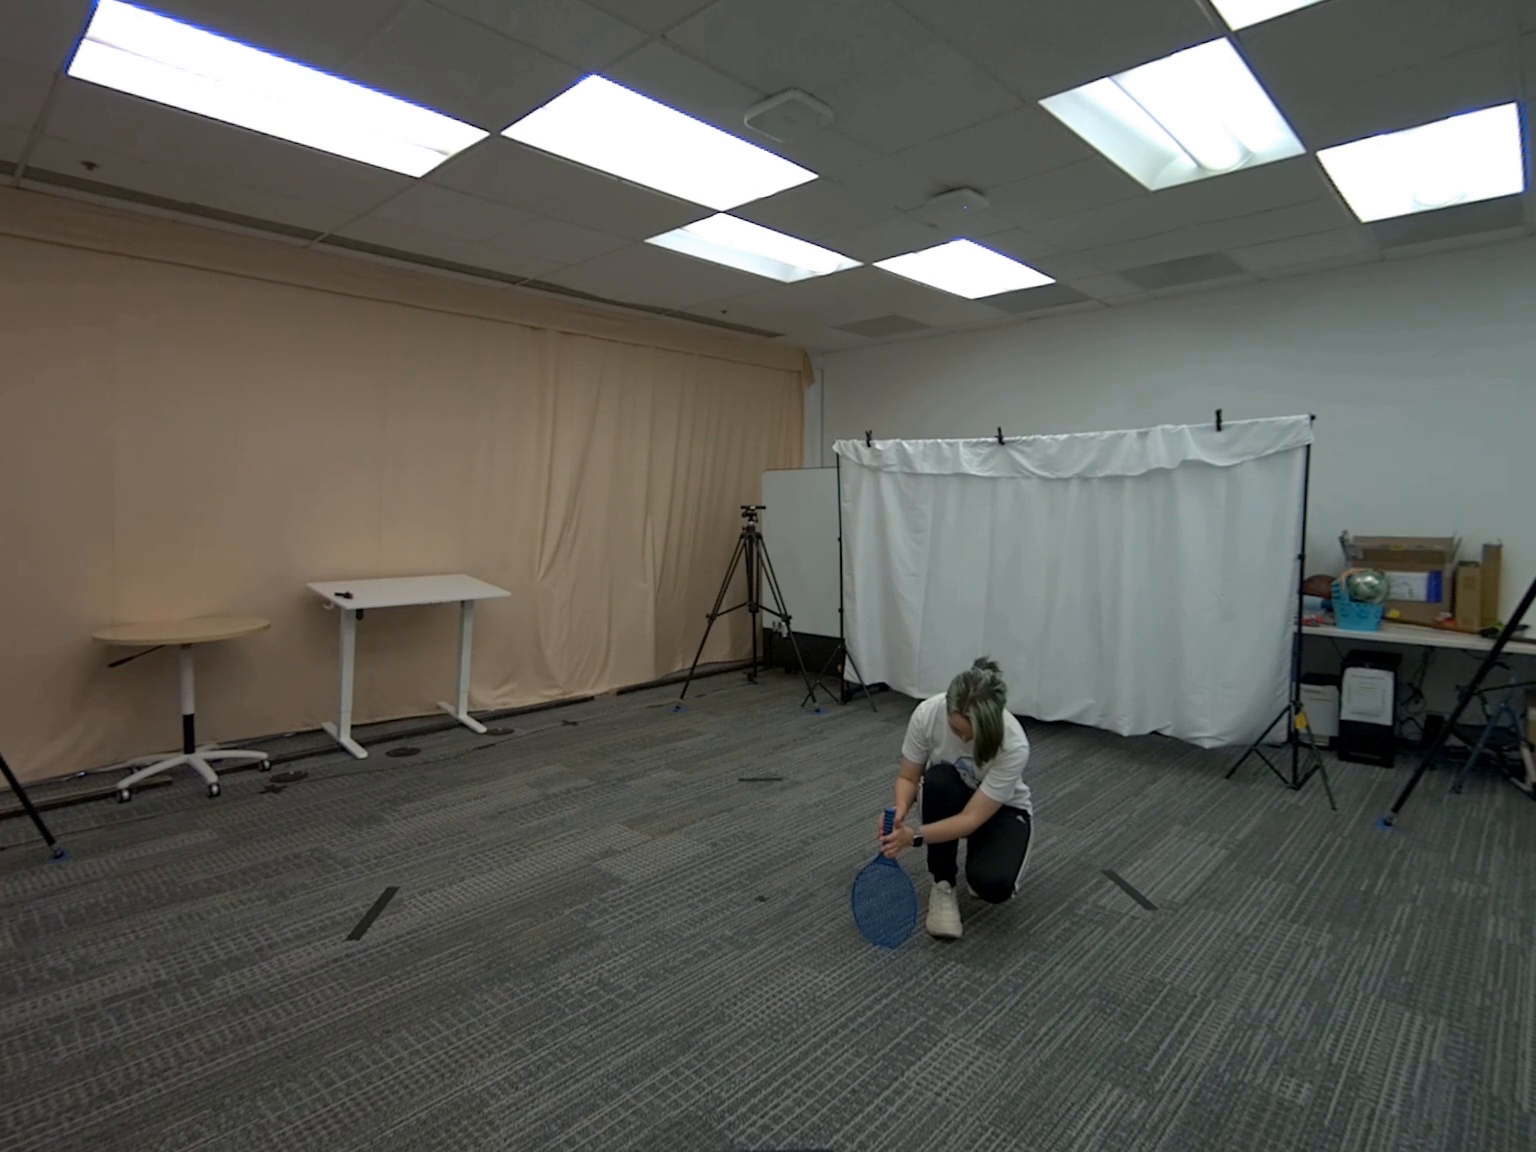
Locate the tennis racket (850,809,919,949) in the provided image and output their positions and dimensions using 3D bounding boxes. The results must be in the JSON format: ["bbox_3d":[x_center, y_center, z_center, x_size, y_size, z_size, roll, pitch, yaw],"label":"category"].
[{"bbox_3d":[0.381,0.961,2.657,0.219,0.433,0.031,3,1,26],"label":"tennis racket"}]
